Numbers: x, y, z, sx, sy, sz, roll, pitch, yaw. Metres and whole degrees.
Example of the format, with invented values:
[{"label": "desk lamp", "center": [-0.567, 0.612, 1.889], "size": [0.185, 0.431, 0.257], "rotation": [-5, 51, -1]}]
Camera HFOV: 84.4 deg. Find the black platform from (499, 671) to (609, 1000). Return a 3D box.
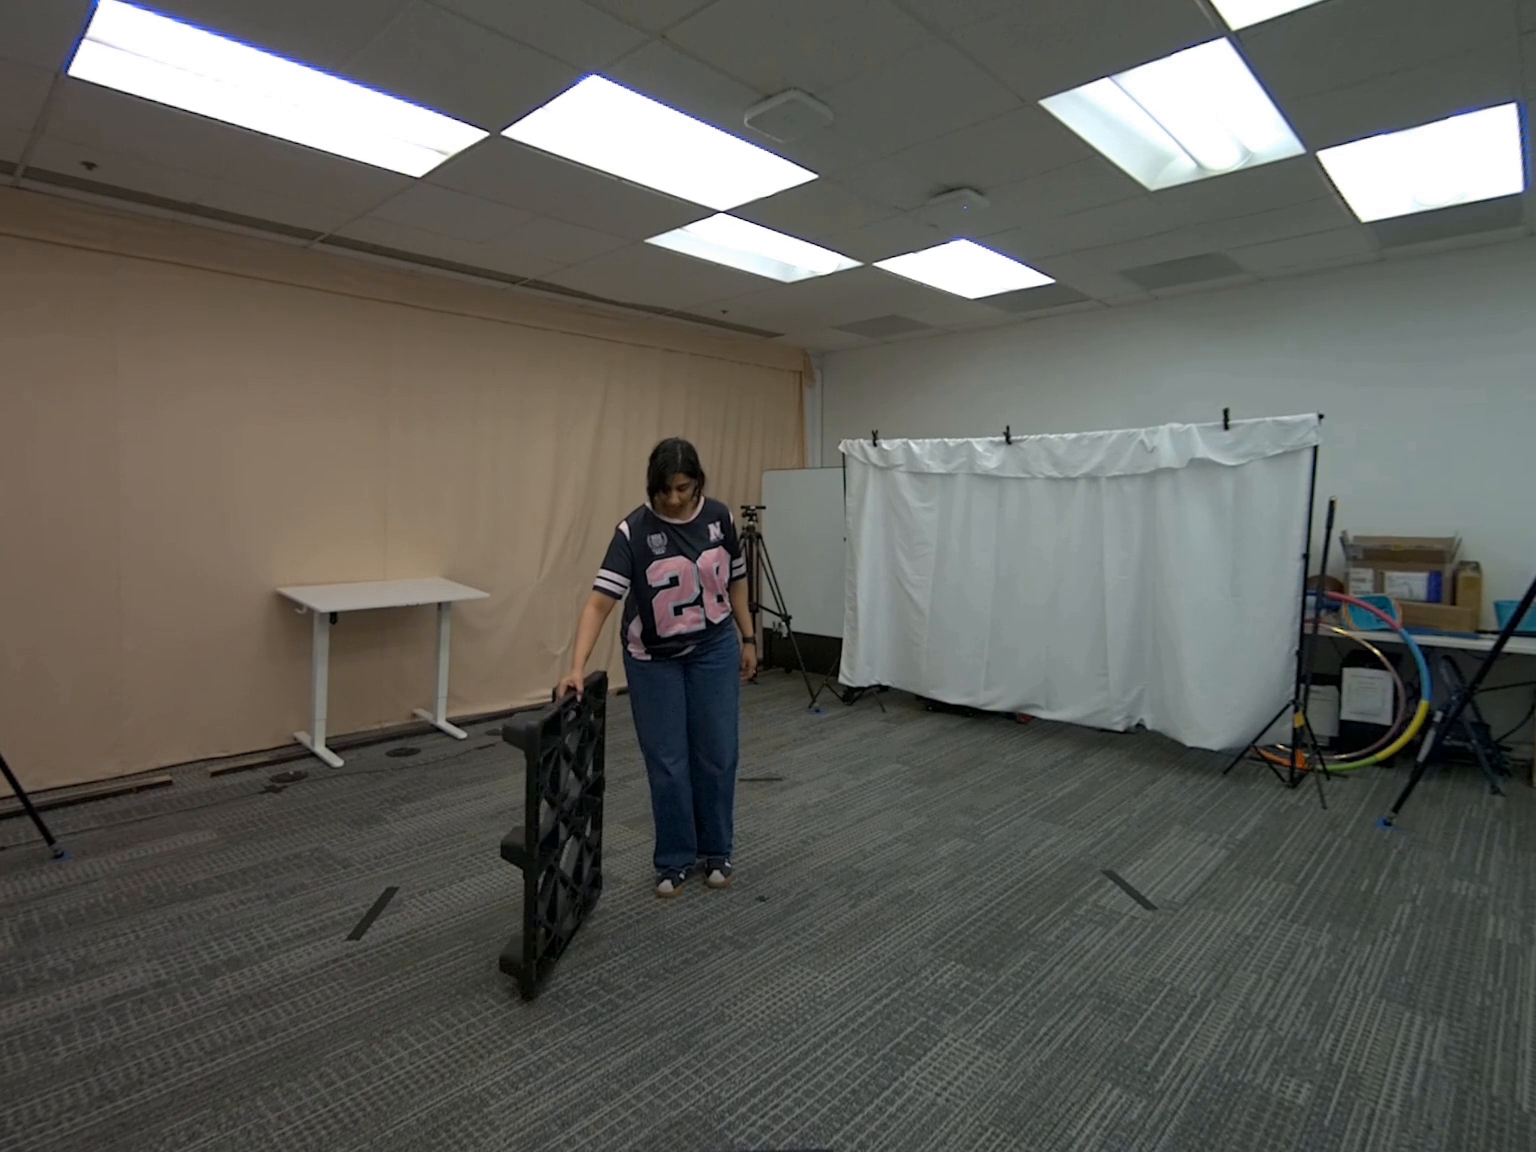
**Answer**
[{"label": "black platform", "center": [-0.656, 0.754, 2.582], "size": [0.144, 0.802, 0.602], "rotation": [3, 7, 6]}]
